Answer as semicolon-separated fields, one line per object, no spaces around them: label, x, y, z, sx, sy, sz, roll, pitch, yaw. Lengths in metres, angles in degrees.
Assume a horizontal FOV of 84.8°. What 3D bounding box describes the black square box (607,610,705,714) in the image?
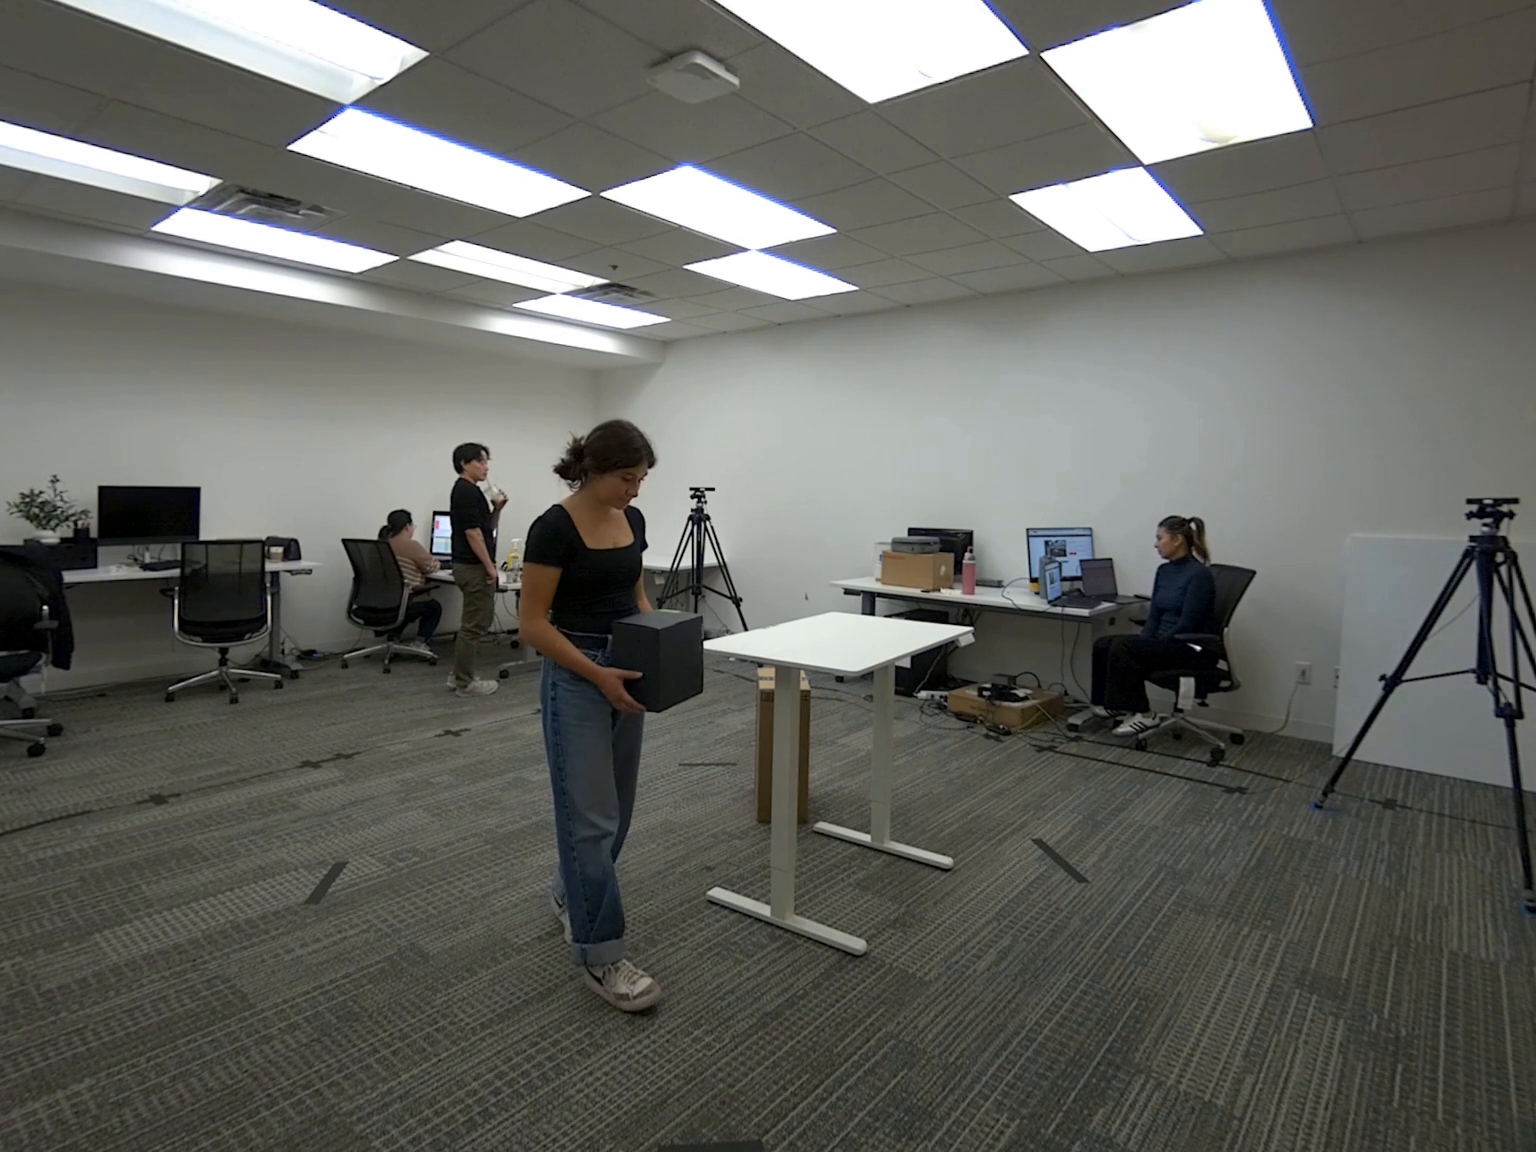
black square box;-0.305;0.223;2.325;0.160;0.227;0.212;3;7;29
